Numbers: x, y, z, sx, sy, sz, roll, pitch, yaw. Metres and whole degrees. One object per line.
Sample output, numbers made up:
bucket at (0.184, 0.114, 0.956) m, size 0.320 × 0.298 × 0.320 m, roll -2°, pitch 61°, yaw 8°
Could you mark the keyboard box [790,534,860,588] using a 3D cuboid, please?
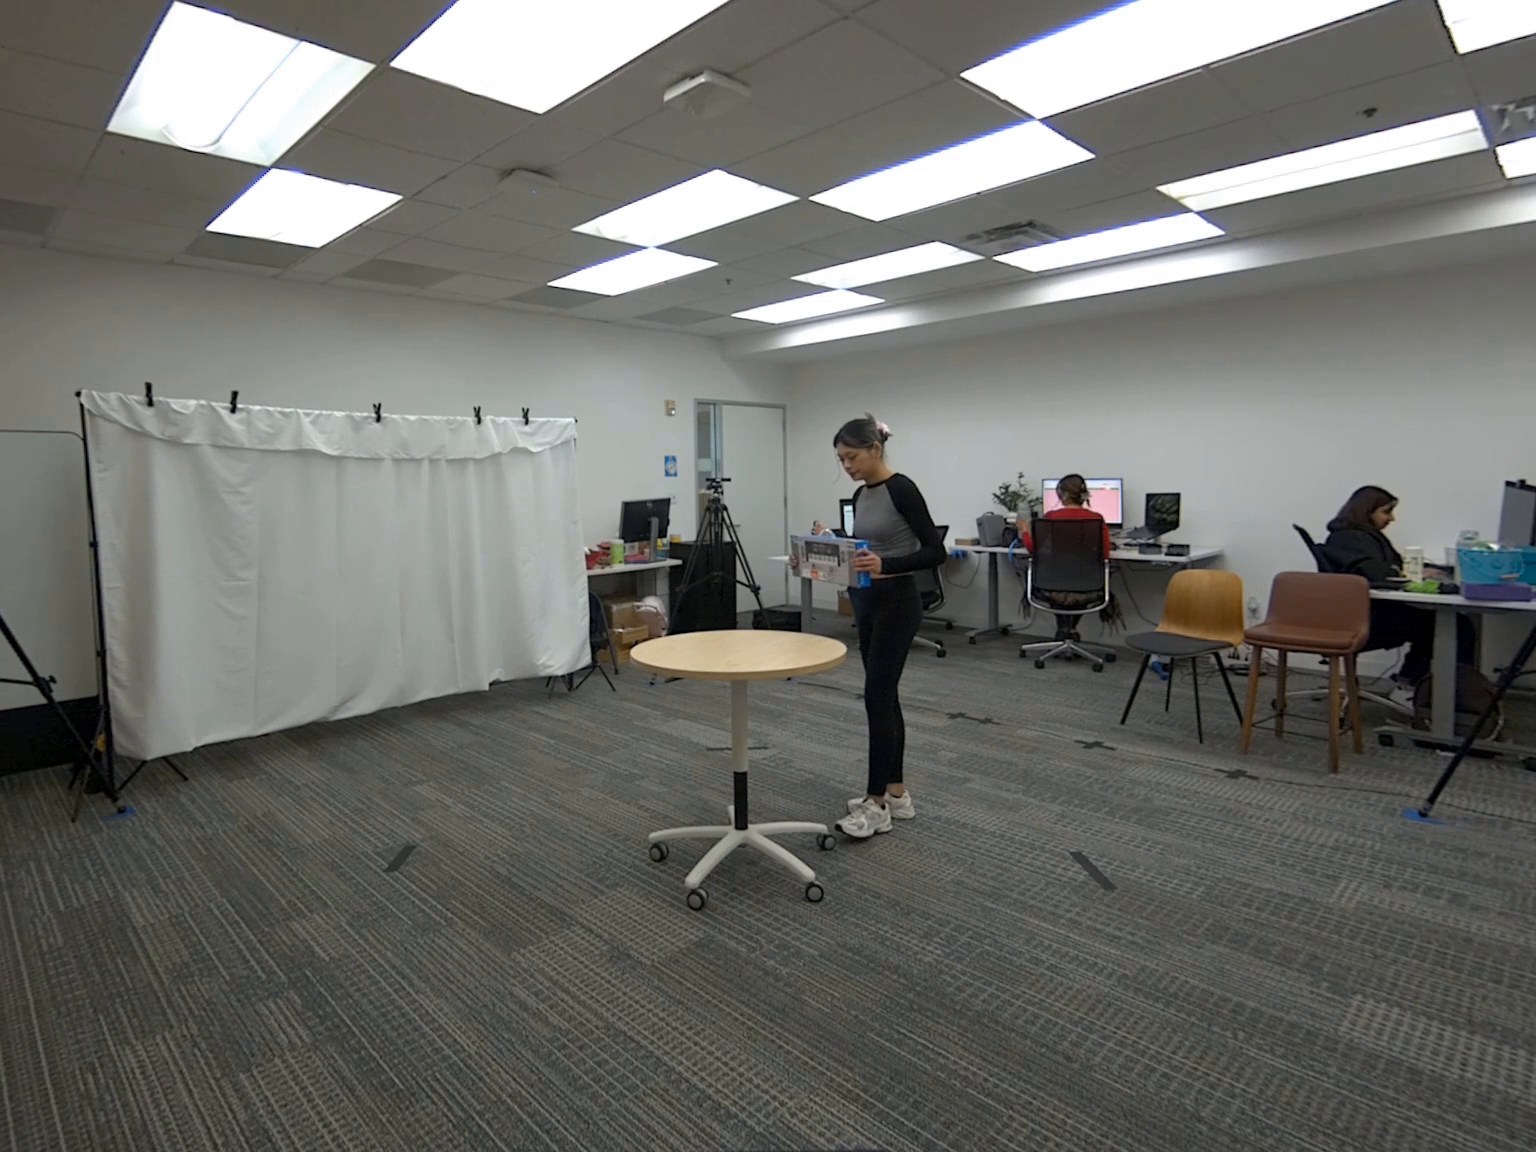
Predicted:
keyboard box at (0.238, -0.063, 3.356) m, size 0.058 × 0.175 × 0.449 m, roll -6°, pitch 9°, yaw -30°
